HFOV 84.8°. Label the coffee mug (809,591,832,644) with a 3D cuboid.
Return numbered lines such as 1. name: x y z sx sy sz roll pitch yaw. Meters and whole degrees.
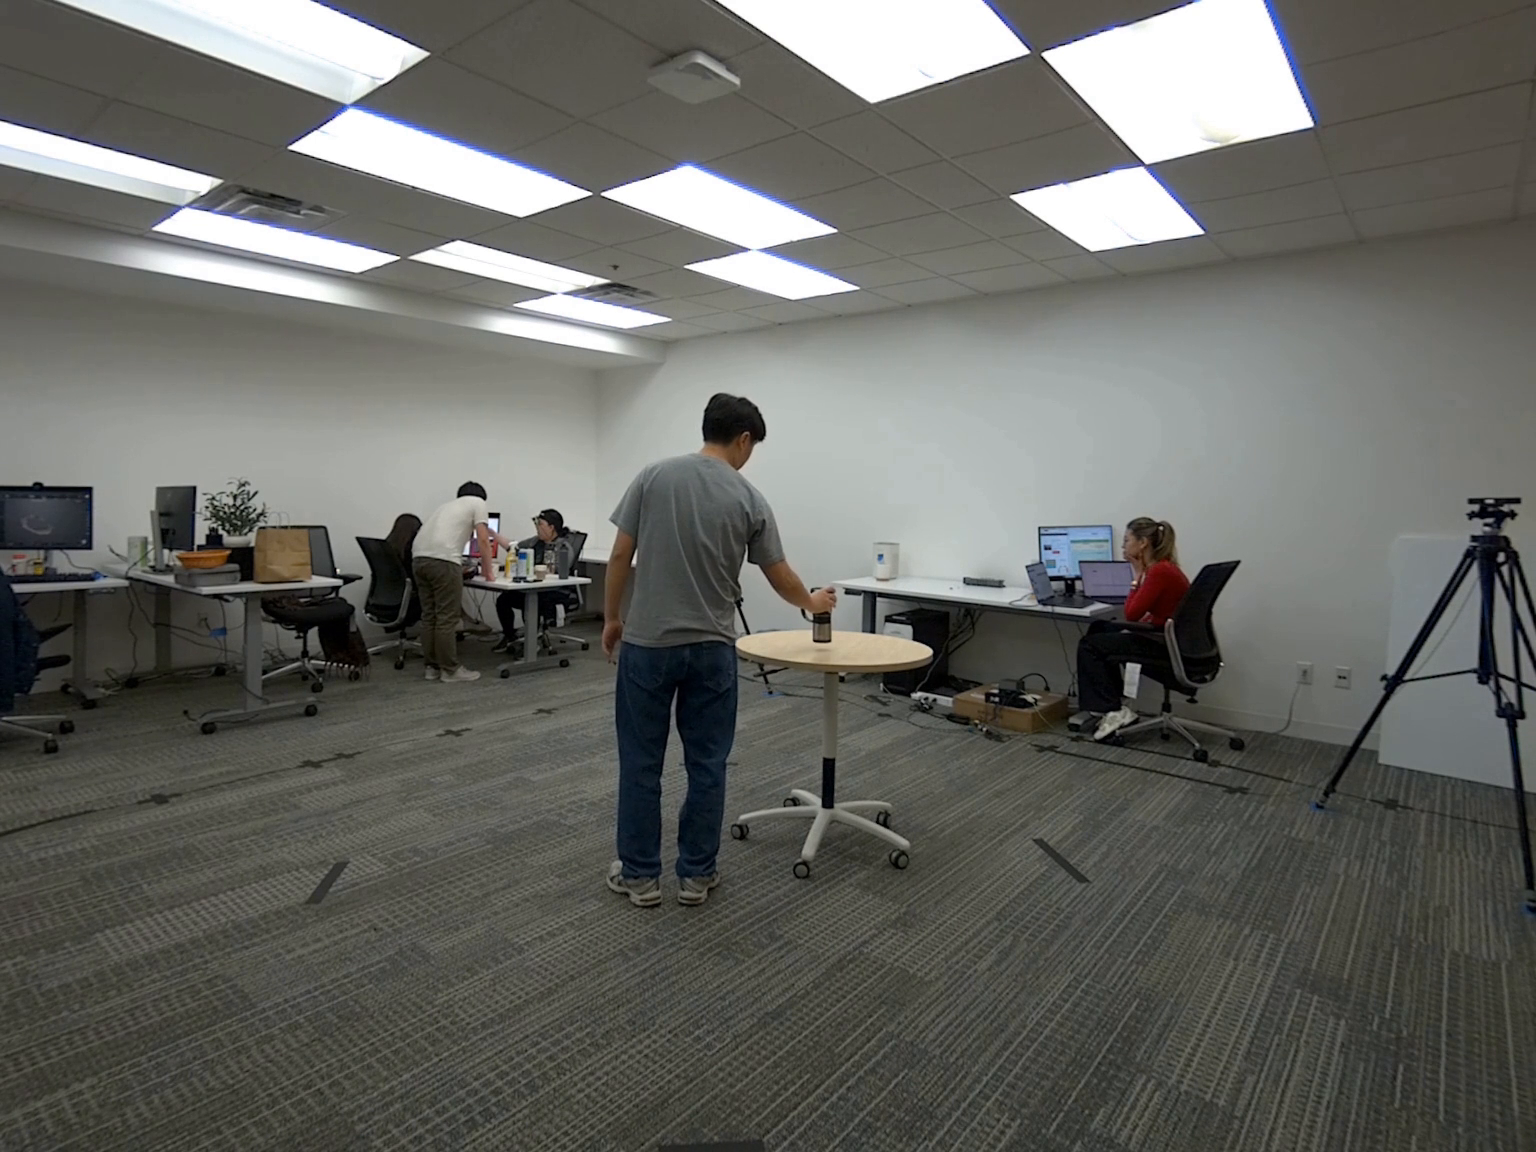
1. coffee mug: 0.181 0.138 3.257 0.126 0.202 0.085 6 8 44
